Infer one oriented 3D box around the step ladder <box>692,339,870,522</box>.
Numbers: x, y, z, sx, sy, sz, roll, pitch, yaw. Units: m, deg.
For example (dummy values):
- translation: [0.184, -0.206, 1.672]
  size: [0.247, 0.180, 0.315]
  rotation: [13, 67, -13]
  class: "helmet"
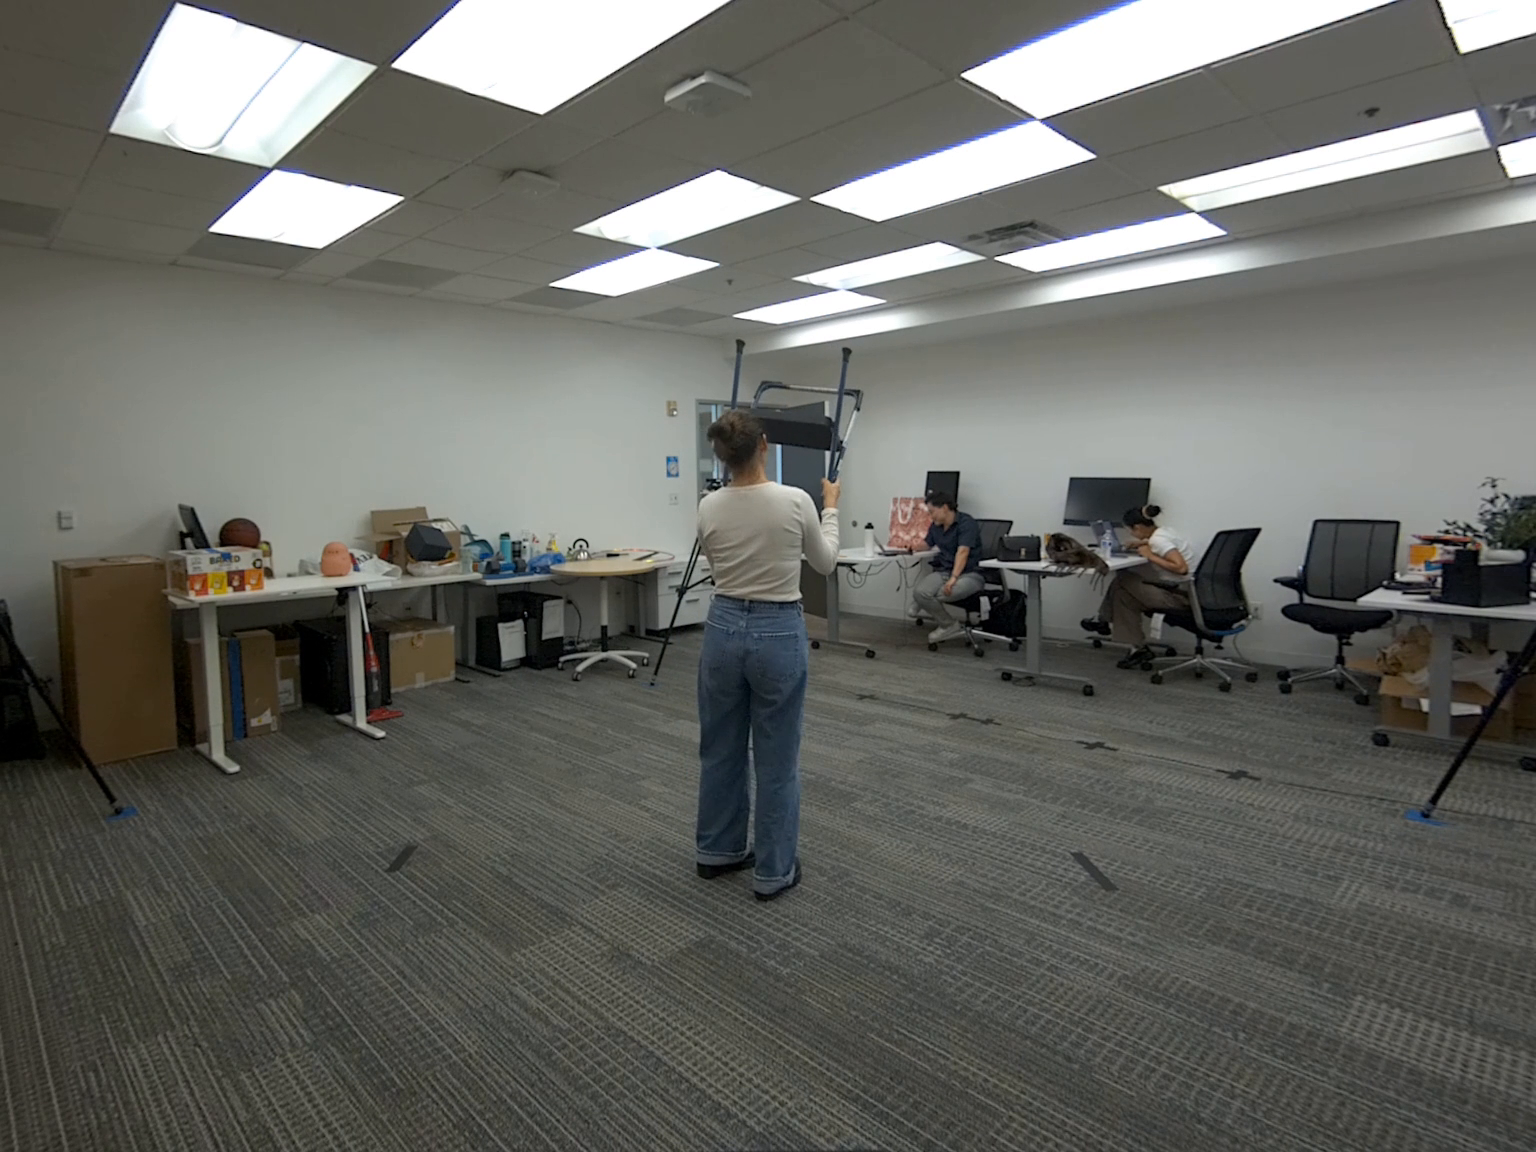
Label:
- translation: [0.059, -0.482, 3.088]
  size: [0.441, 0.610, 0.339]
  rotation: [10, -12, 21]
  class: "step ladder"
